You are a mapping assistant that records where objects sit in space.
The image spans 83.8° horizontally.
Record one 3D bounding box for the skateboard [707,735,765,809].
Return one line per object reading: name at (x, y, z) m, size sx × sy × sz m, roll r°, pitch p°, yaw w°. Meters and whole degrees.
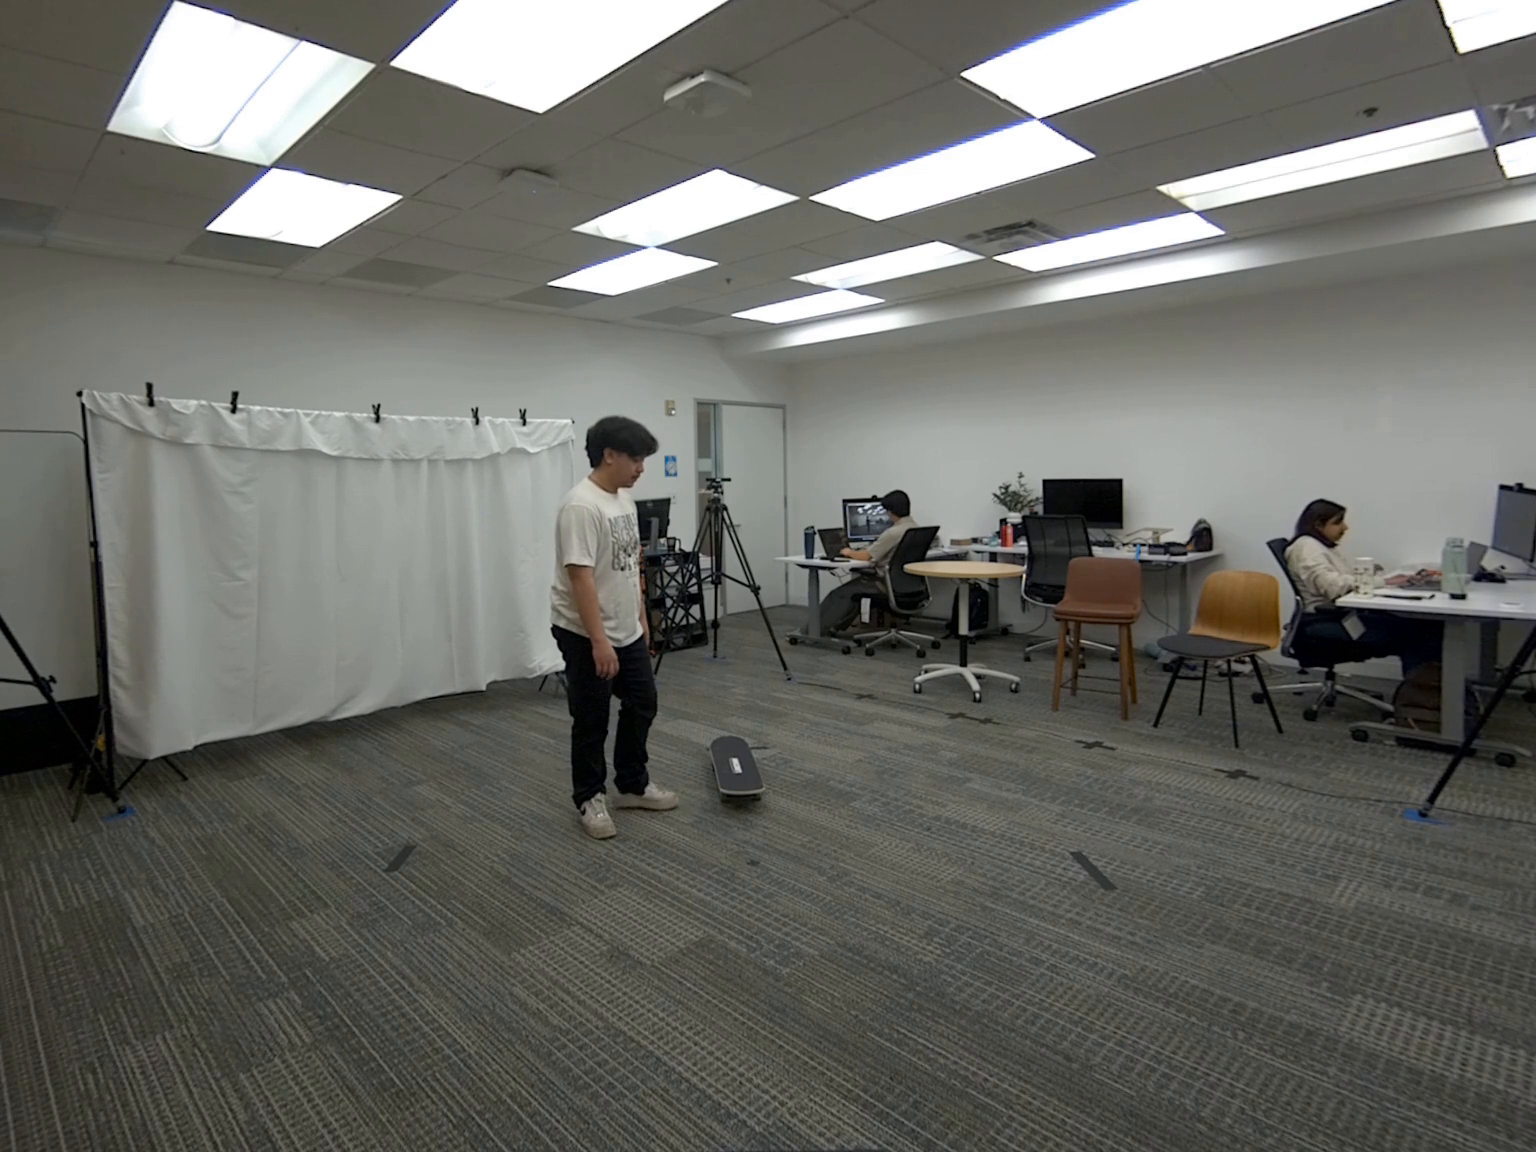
skateboard at (-0.143, 0.897, 3.907) m, size 0.192 × 0.110 × 0.794 m, roll -2°, pitch 6°, yaw -8°
